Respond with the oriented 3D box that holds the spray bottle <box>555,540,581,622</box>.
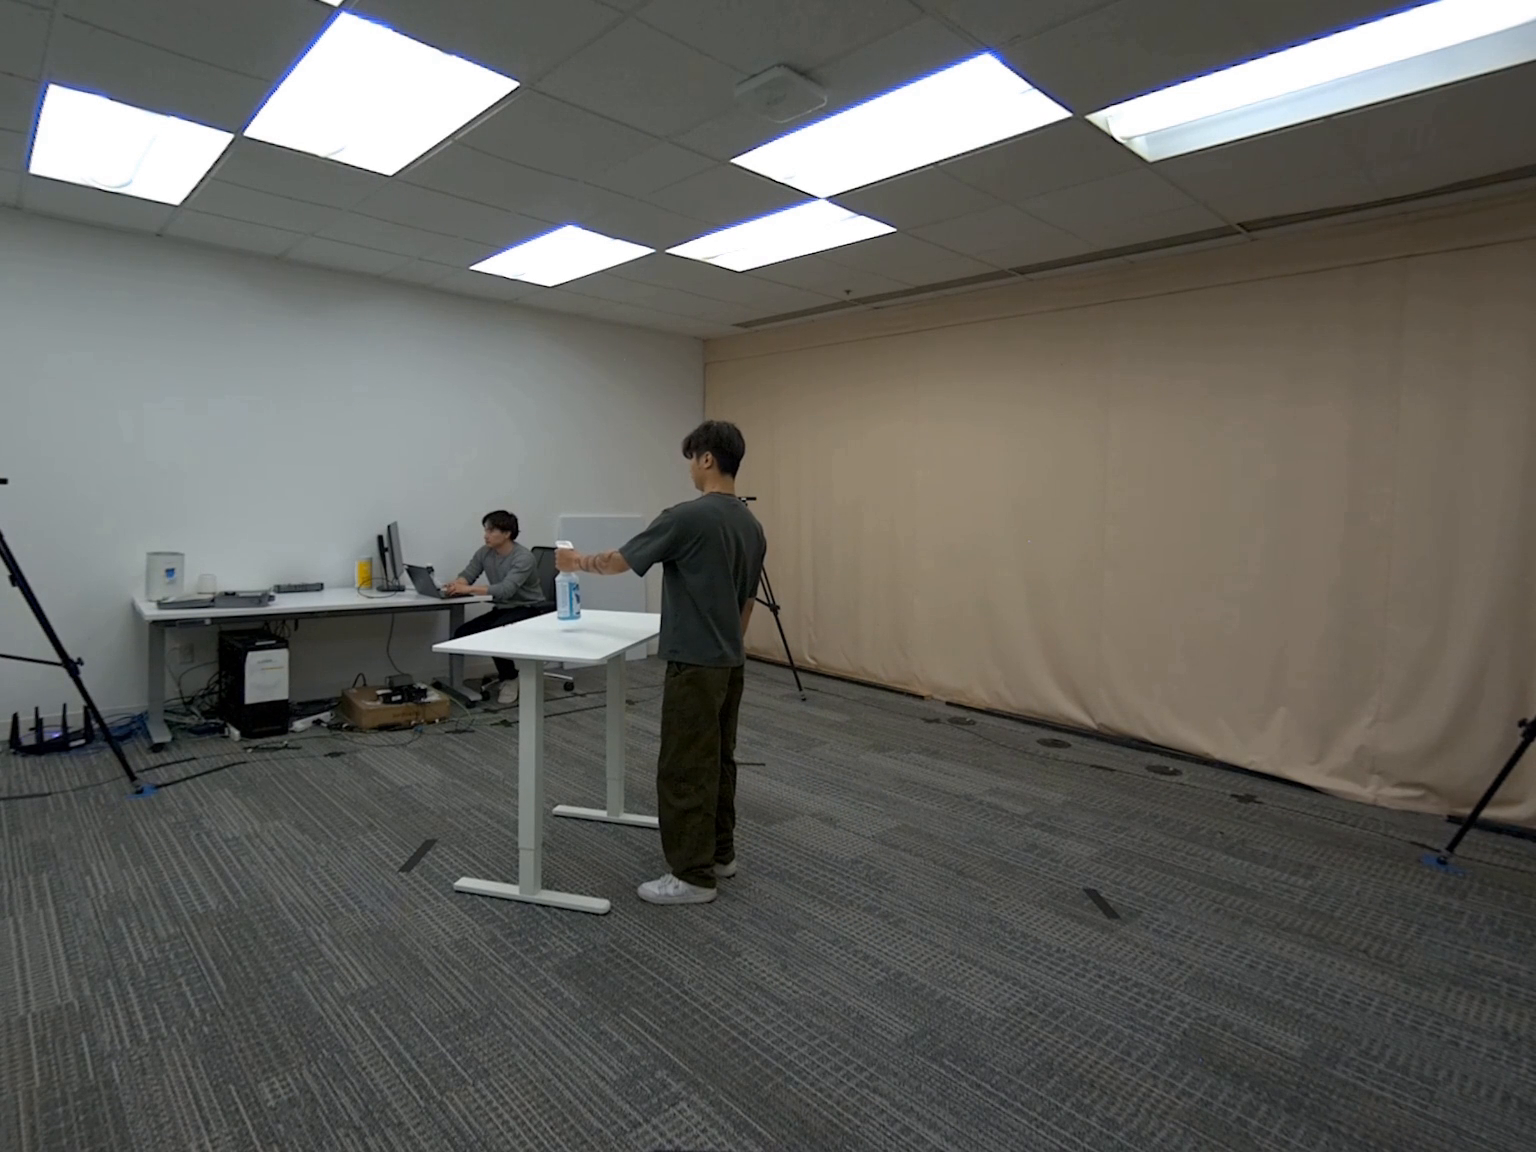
[{"bbox_3d":[-0.757,0.018,3.163,0.085,0.297,0.091,-3,-1,-28],"label":"spray bottle"}]
